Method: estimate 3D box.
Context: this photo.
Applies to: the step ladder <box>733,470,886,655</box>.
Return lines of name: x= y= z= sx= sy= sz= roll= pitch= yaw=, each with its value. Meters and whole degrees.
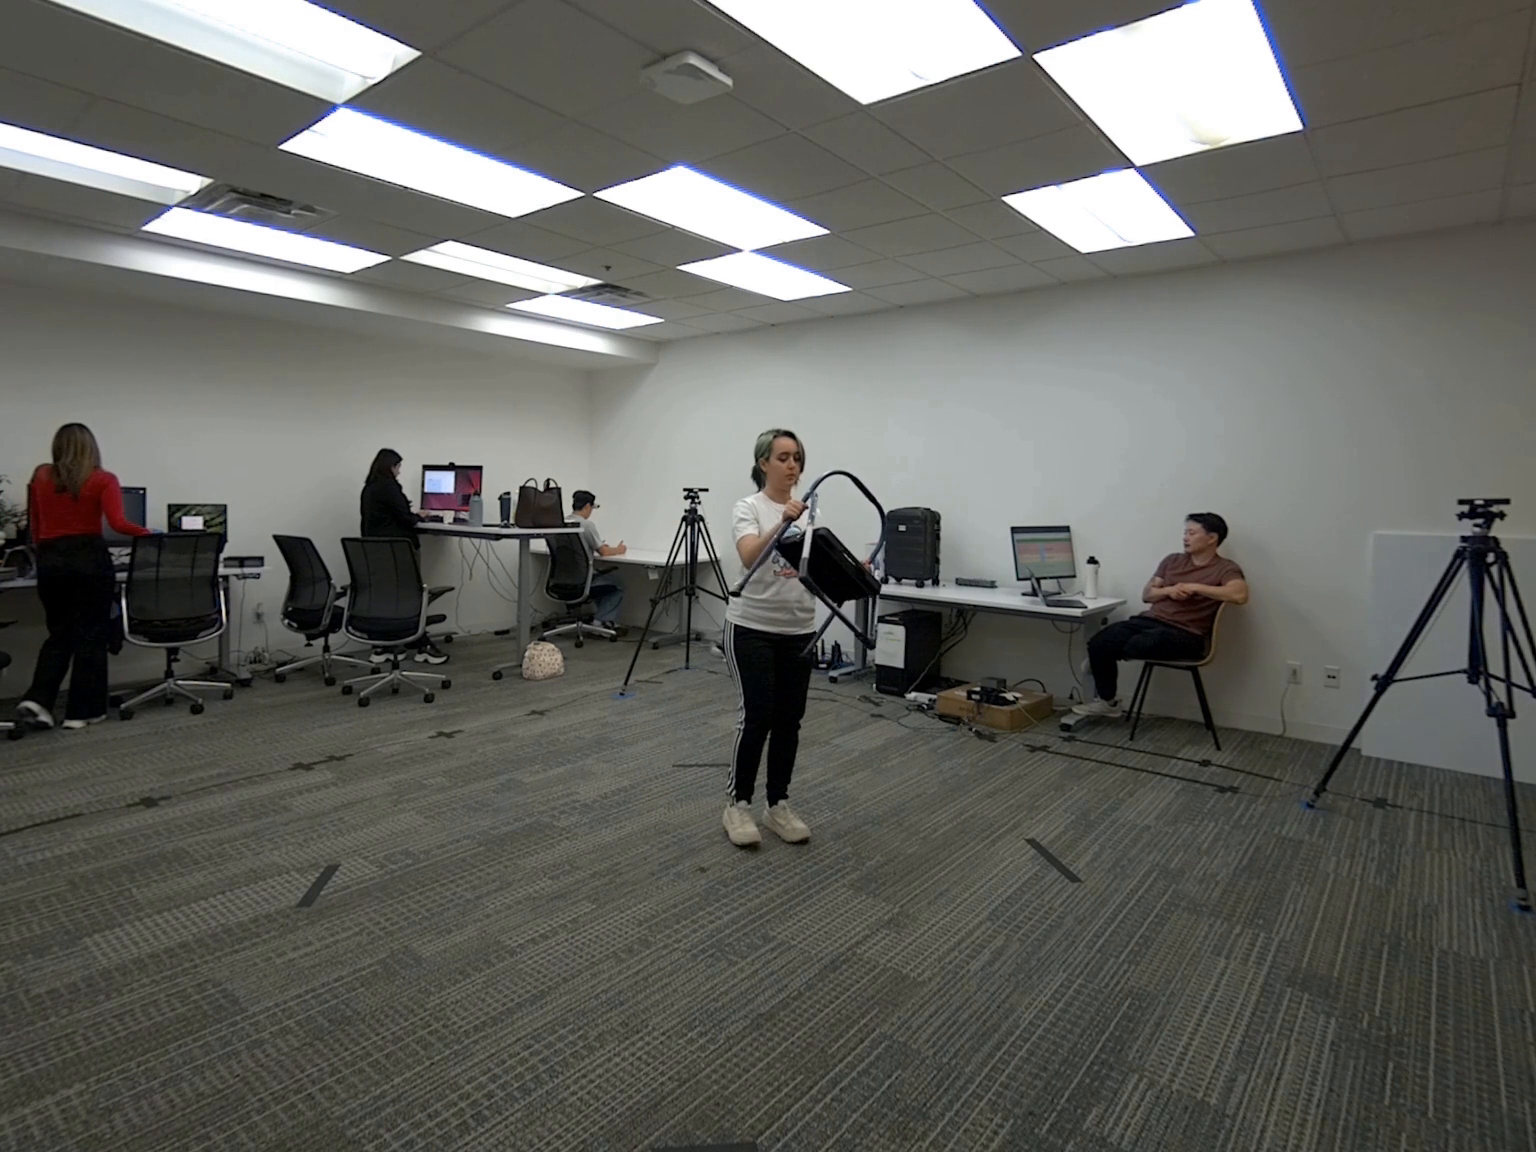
step ladder: x=0.210 y=-0.080 z=3.107 sx=0.357 sy=0.613 sz=0.416 roll=-14 pitch=-49 yaw=44
